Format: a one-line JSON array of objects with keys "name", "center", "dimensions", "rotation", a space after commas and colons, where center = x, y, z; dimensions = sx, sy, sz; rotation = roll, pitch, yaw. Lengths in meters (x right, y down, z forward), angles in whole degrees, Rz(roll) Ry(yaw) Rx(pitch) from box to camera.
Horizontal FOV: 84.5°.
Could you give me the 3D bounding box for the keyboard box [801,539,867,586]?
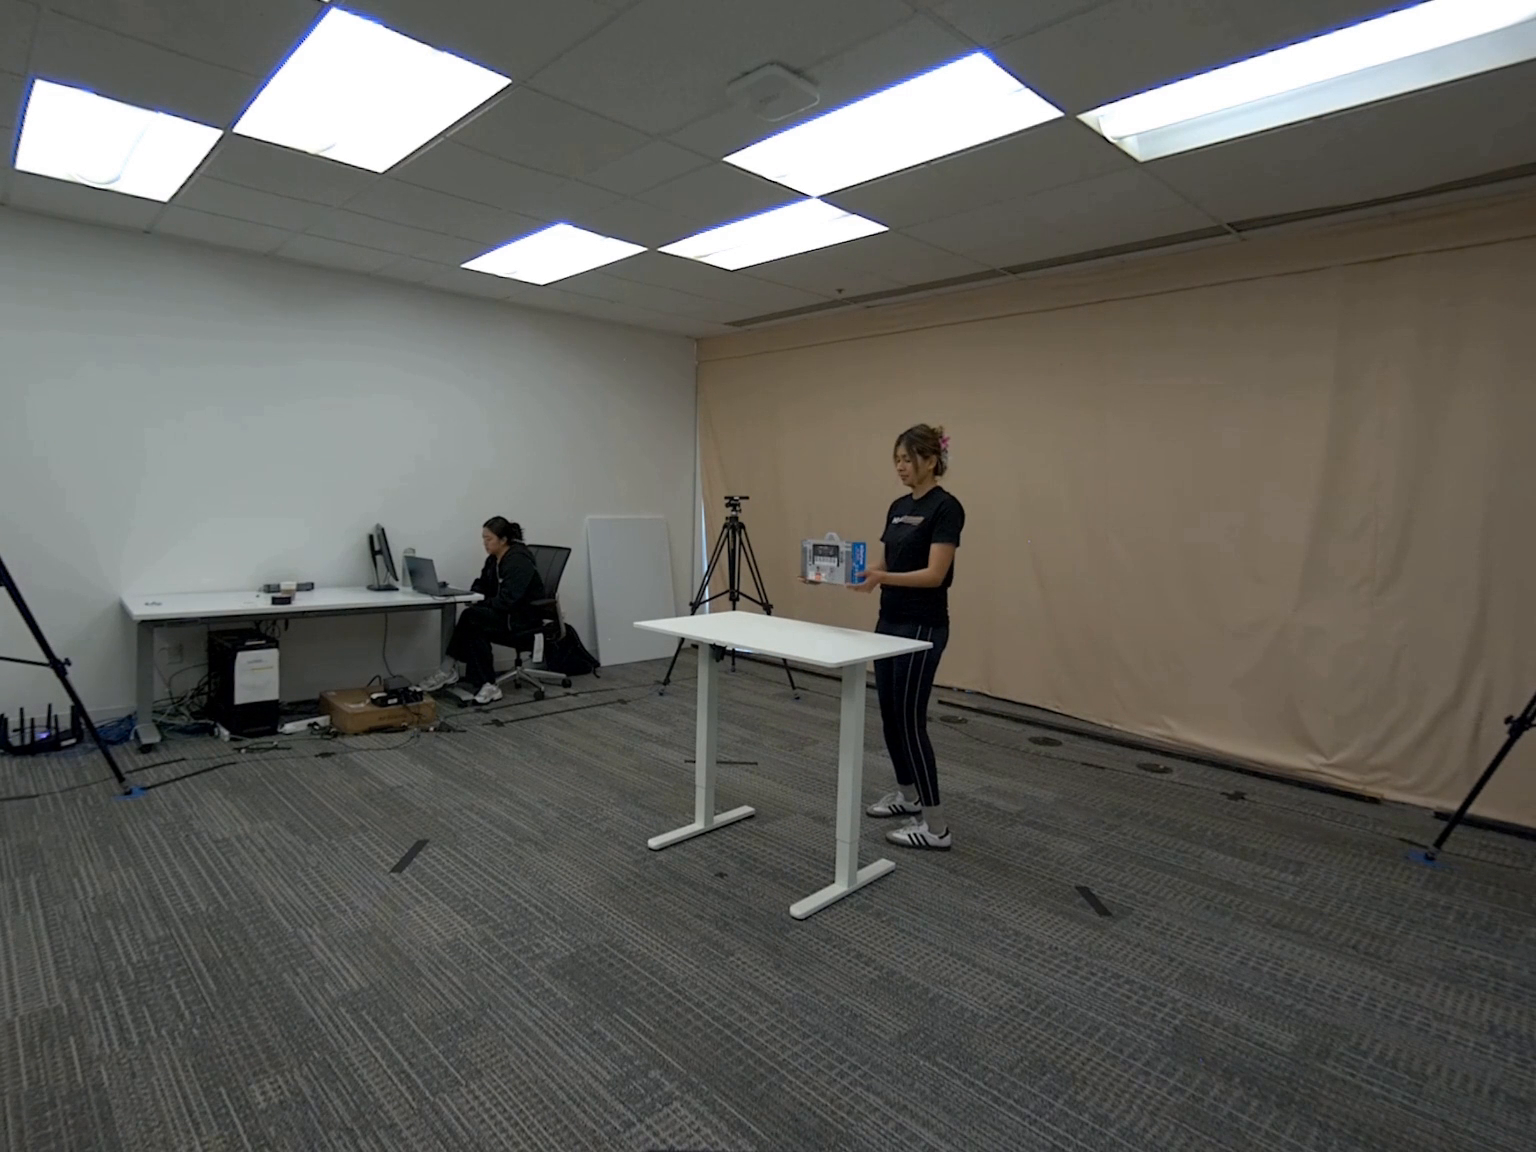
[{"name": "keyboard box", "center": [0.256, -0.054, 3.419], "dimensions": [0.058, 0.176, 0.445], "rotation": [2, 3, -24]}]
